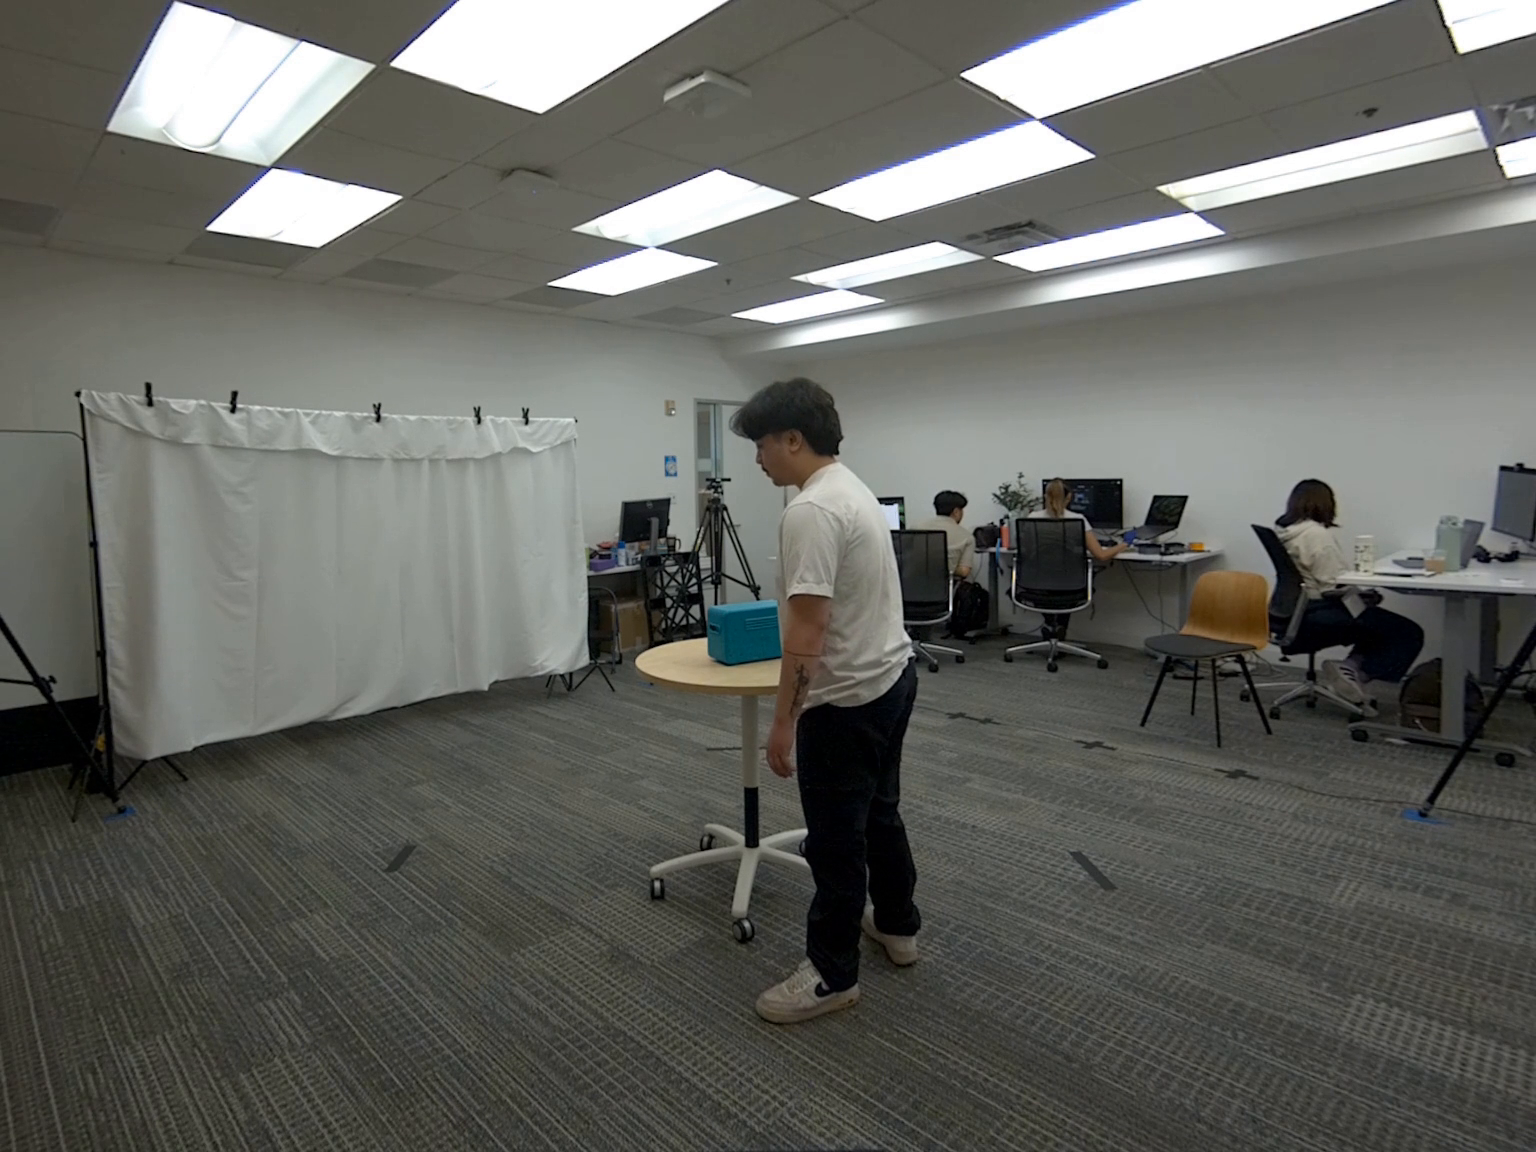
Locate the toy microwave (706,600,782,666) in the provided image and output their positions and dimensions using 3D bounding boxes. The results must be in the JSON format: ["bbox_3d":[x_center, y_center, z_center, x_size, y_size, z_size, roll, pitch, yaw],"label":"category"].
[{"bbox_3d":[-0.056,0.184,2.870,0.279,0.183,0.157,-5,6,-31],"label":"toy microwave"}]
